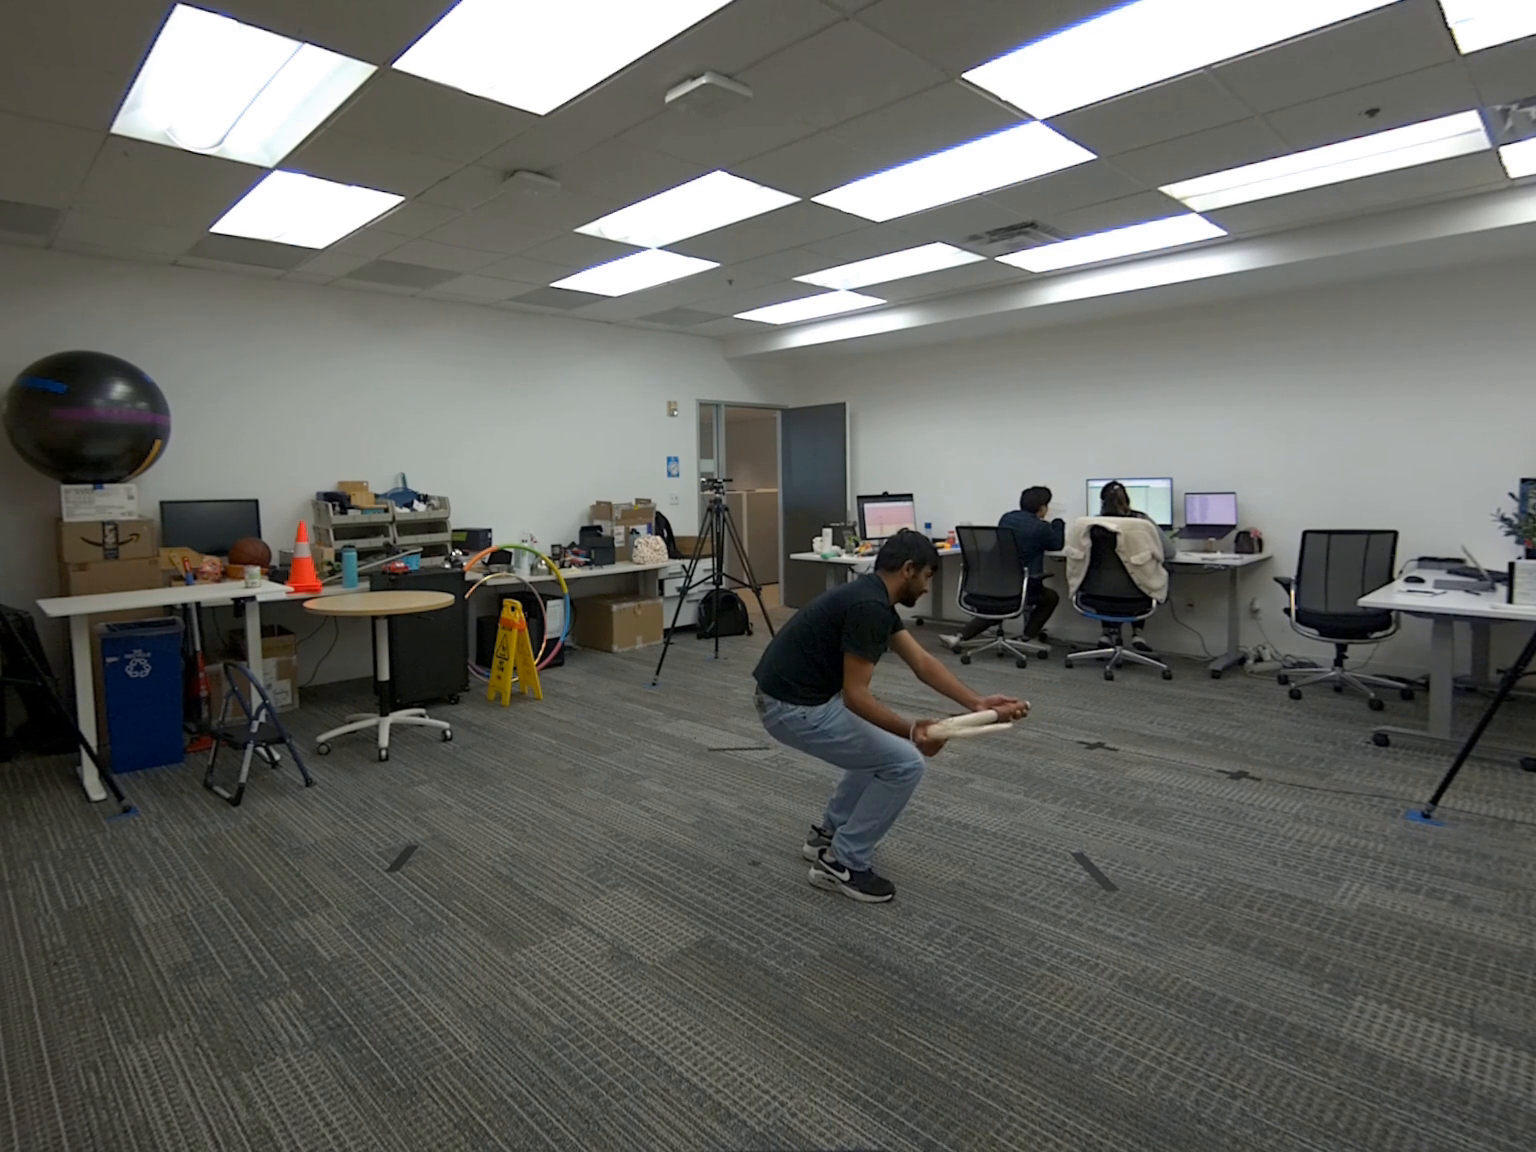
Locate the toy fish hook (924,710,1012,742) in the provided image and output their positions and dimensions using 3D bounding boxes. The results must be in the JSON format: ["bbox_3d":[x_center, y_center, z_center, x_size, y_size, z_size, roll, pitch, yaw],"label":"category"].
[{"bbox_3d":[0.693,0.435,2.567,0.493,0.048,0.230,-6,2,-39],"label":"toy fish hook"}]
